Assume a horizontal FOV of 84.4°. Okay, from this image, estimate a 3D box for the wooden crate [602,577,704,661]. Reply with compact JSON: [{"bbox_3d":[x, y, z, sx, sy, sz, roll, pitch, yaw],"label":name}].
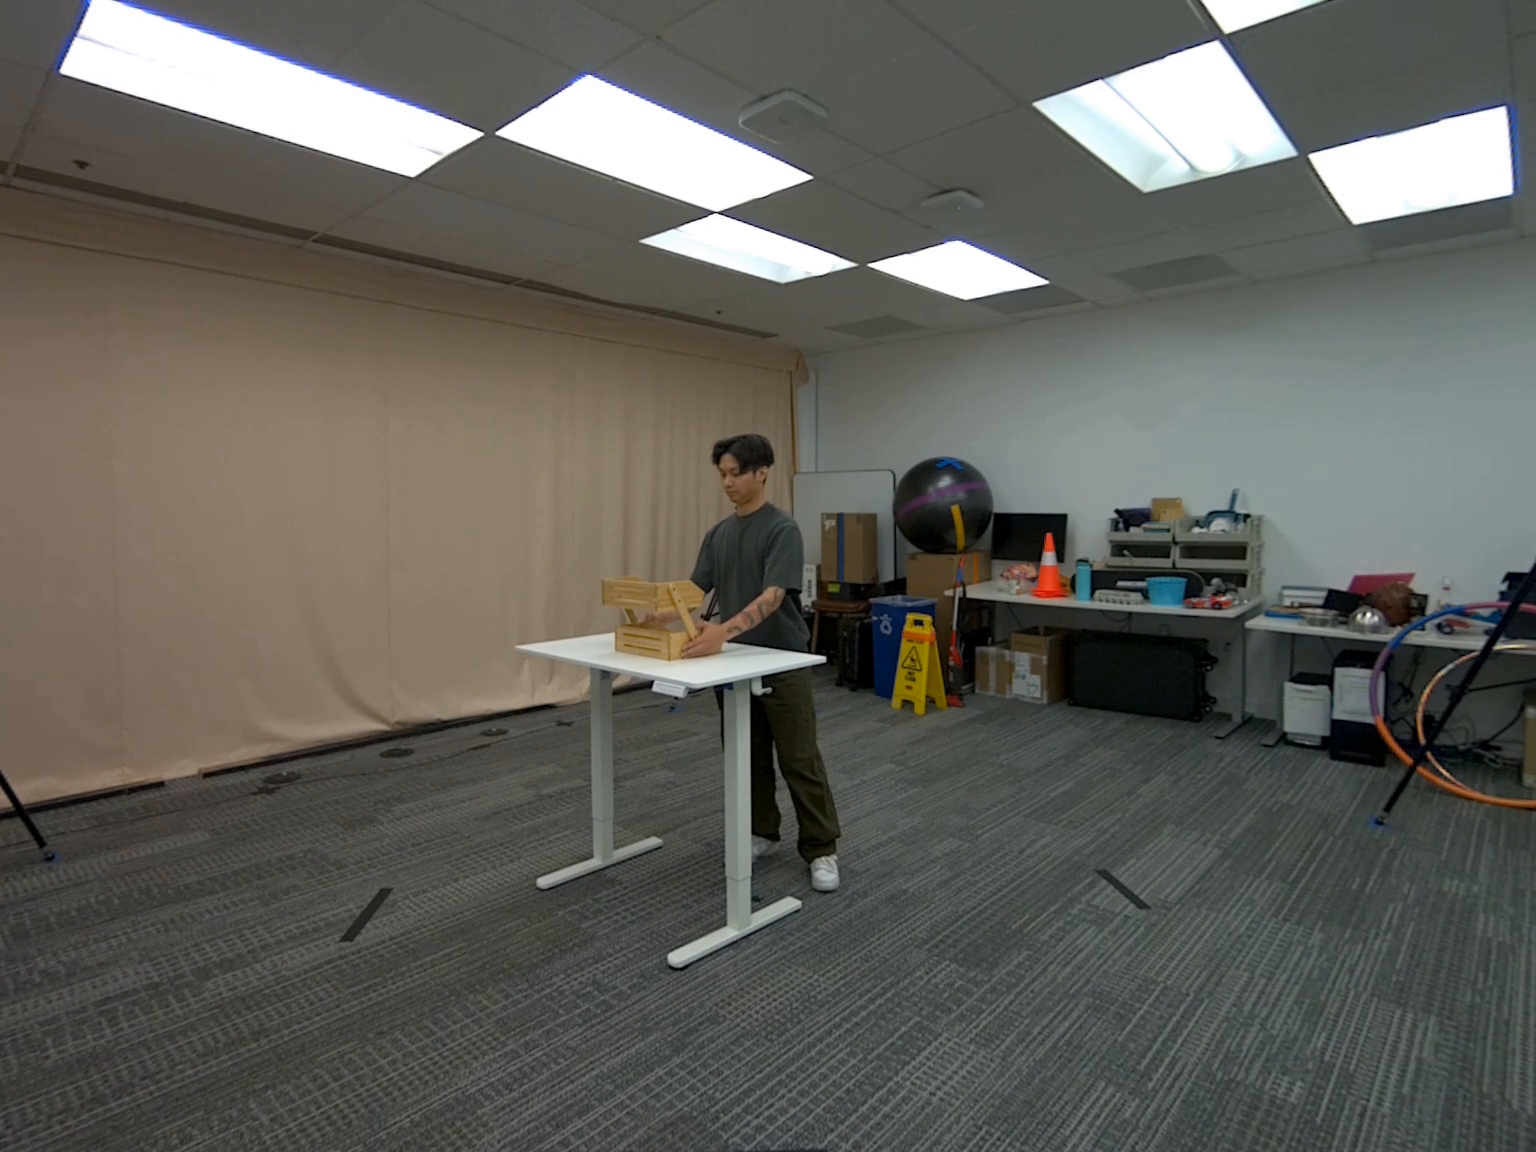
[{"bbox_3d":[-0.365,0.135,2.942,0.293,0.273,0.335,-5,5,-45],"label":"wooden crate"}]
